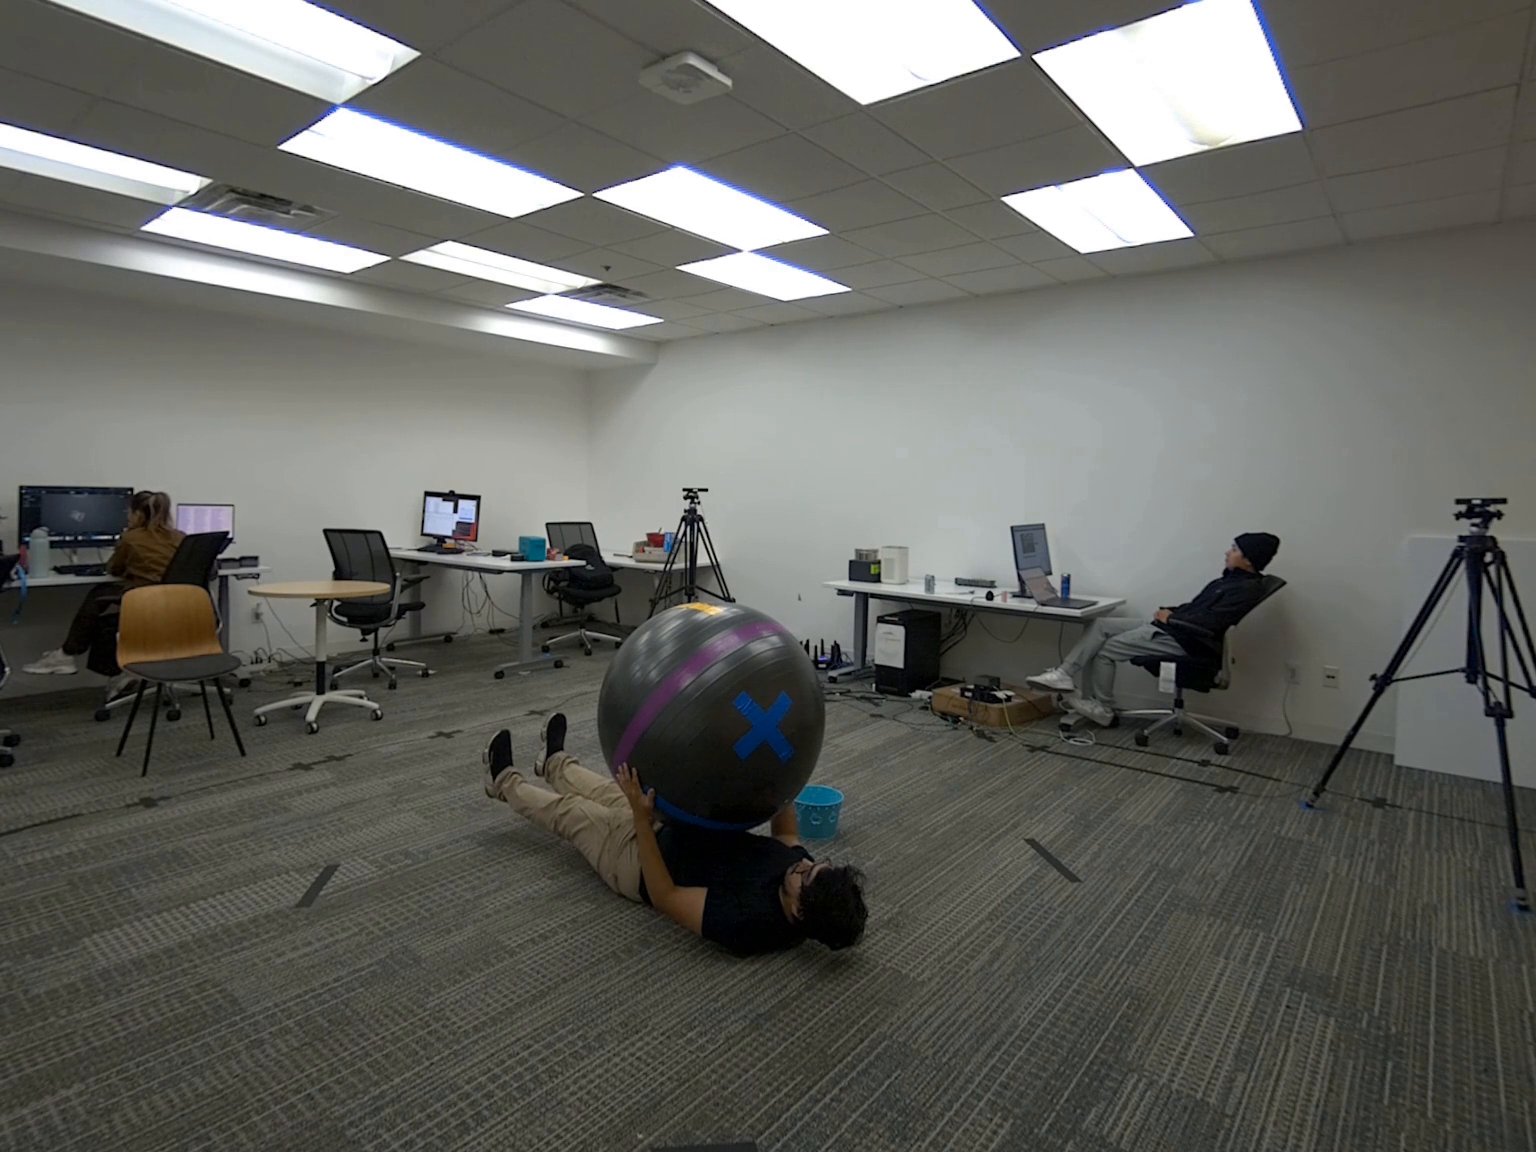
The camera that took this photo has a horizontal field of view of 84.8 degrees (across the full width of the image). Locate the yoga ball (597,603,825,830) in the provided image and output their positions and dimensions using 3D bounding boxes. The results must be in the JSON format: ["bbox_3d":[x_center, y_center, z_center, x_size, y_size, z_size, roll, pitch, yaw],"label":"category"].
[{"bbox_3d":[-0.197,0.465,2.836,0.757,0.756,0.761,0,4,-2],"label":"yoga ball"}]
